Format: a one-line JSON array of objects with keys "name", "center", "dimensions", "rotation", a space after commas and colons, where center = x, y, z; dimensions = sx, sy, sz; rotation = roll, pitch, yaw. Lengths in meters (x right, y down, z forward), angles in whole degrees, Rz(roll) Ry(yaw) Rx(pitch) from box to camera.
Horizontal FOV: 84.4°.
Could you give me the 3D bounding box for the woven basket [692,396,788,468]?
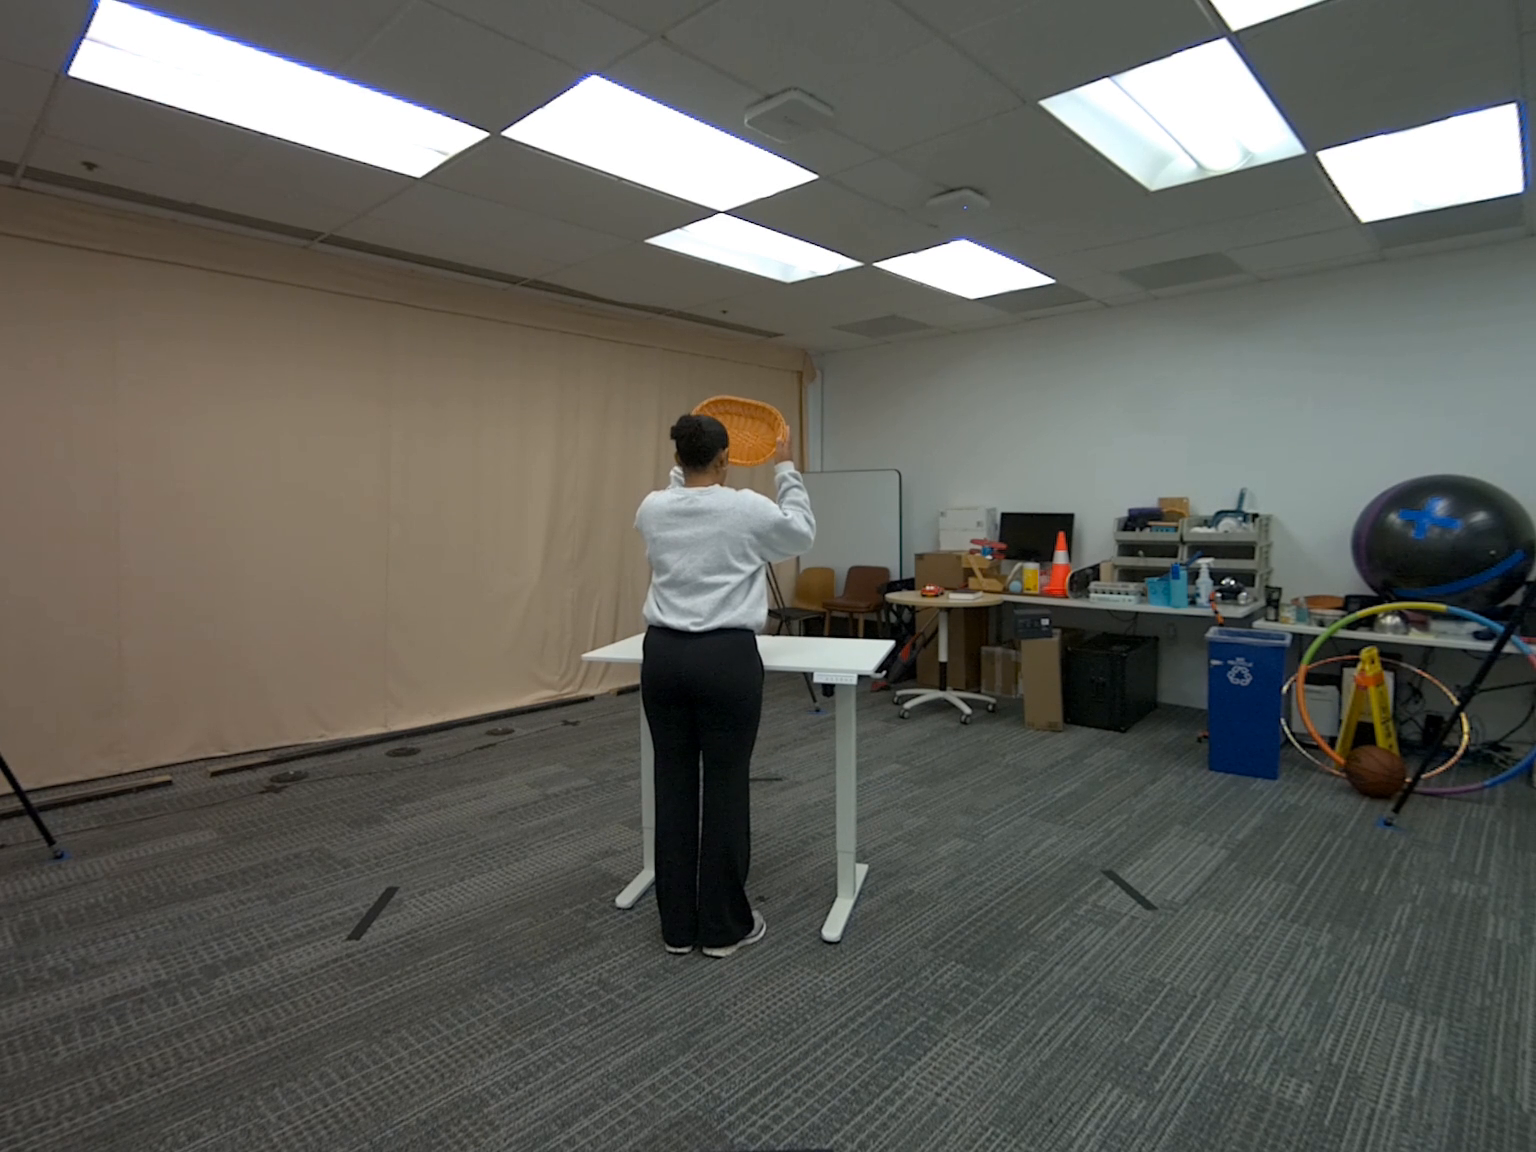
[{"name": "woven basket", "center": [-0.108, -0.454, 2.907], "dimensions": [0.357, 0.253, 0.072], "rotation": [18, -14, 17]}]
